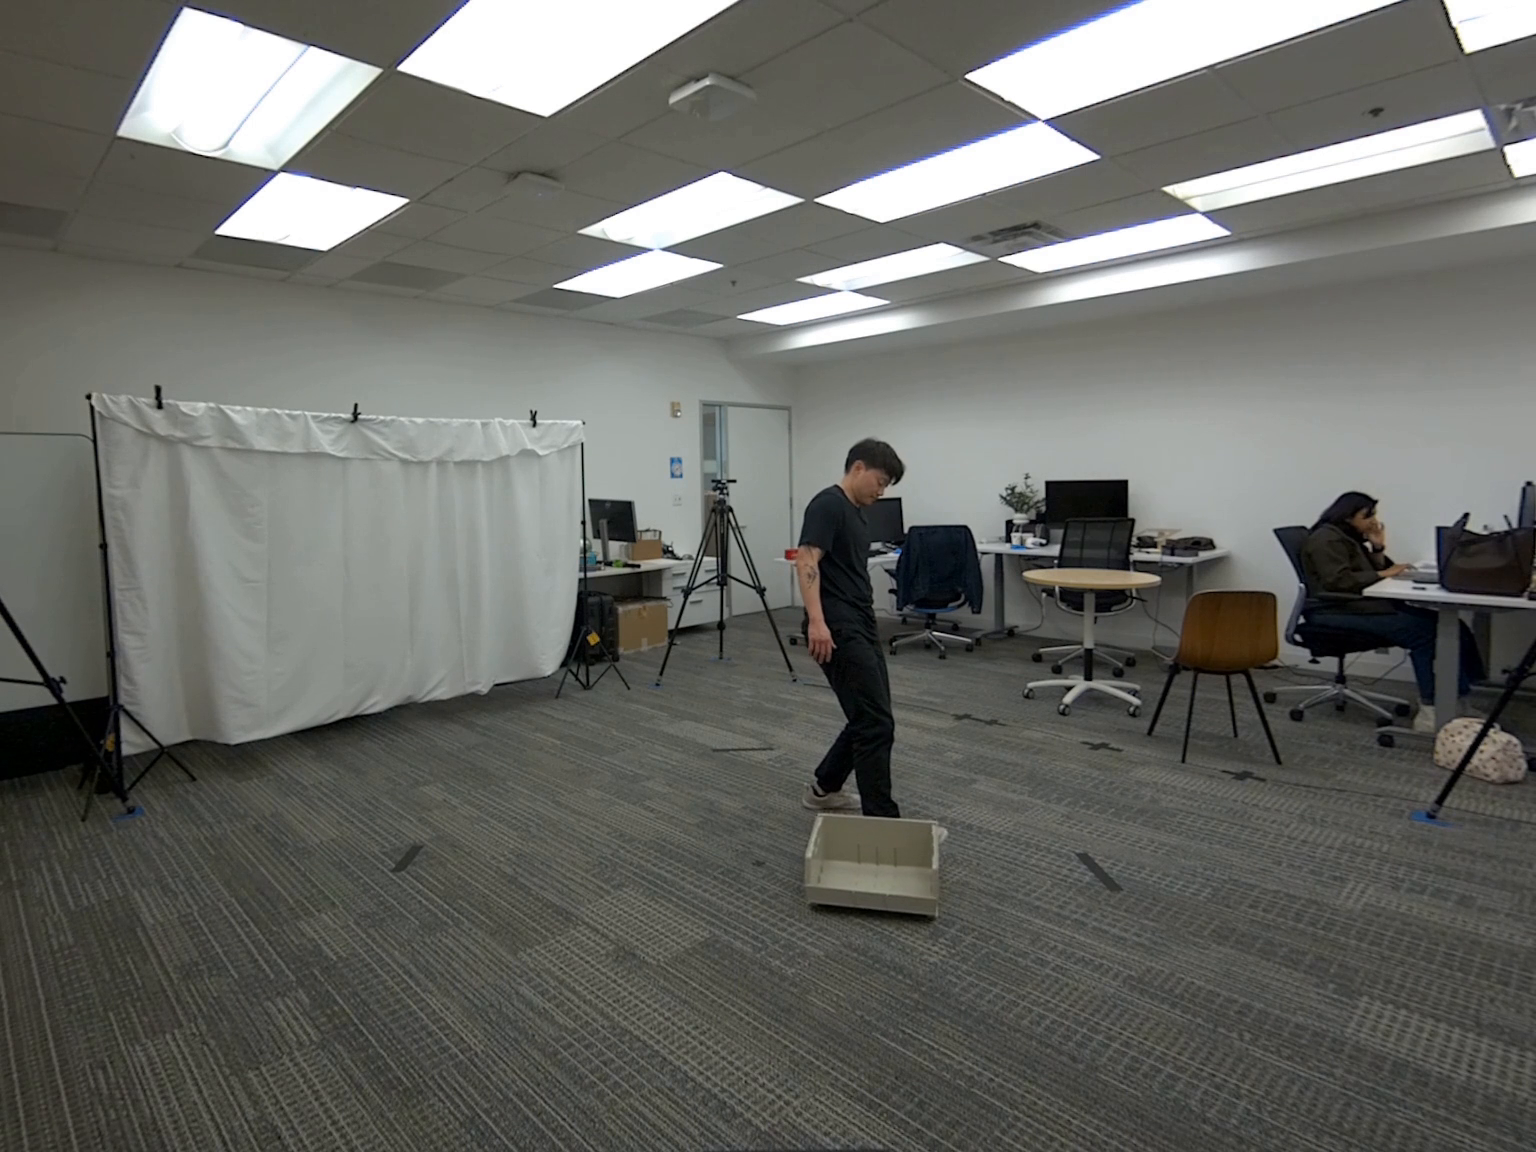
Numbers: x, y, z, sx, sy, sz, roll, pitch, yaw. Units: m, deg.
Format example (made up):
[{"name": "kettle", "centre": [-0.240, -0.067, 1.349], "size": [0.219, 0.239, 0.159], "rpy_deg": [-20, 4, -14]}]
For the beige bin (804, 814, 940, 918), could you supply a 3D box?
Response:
[{"name": "beige bin", "centre": [0.362, 0.976, 2.876], "size": [0.428, 0.188, 0.374], "rpy_deg": [-1, 6, 12]}]
